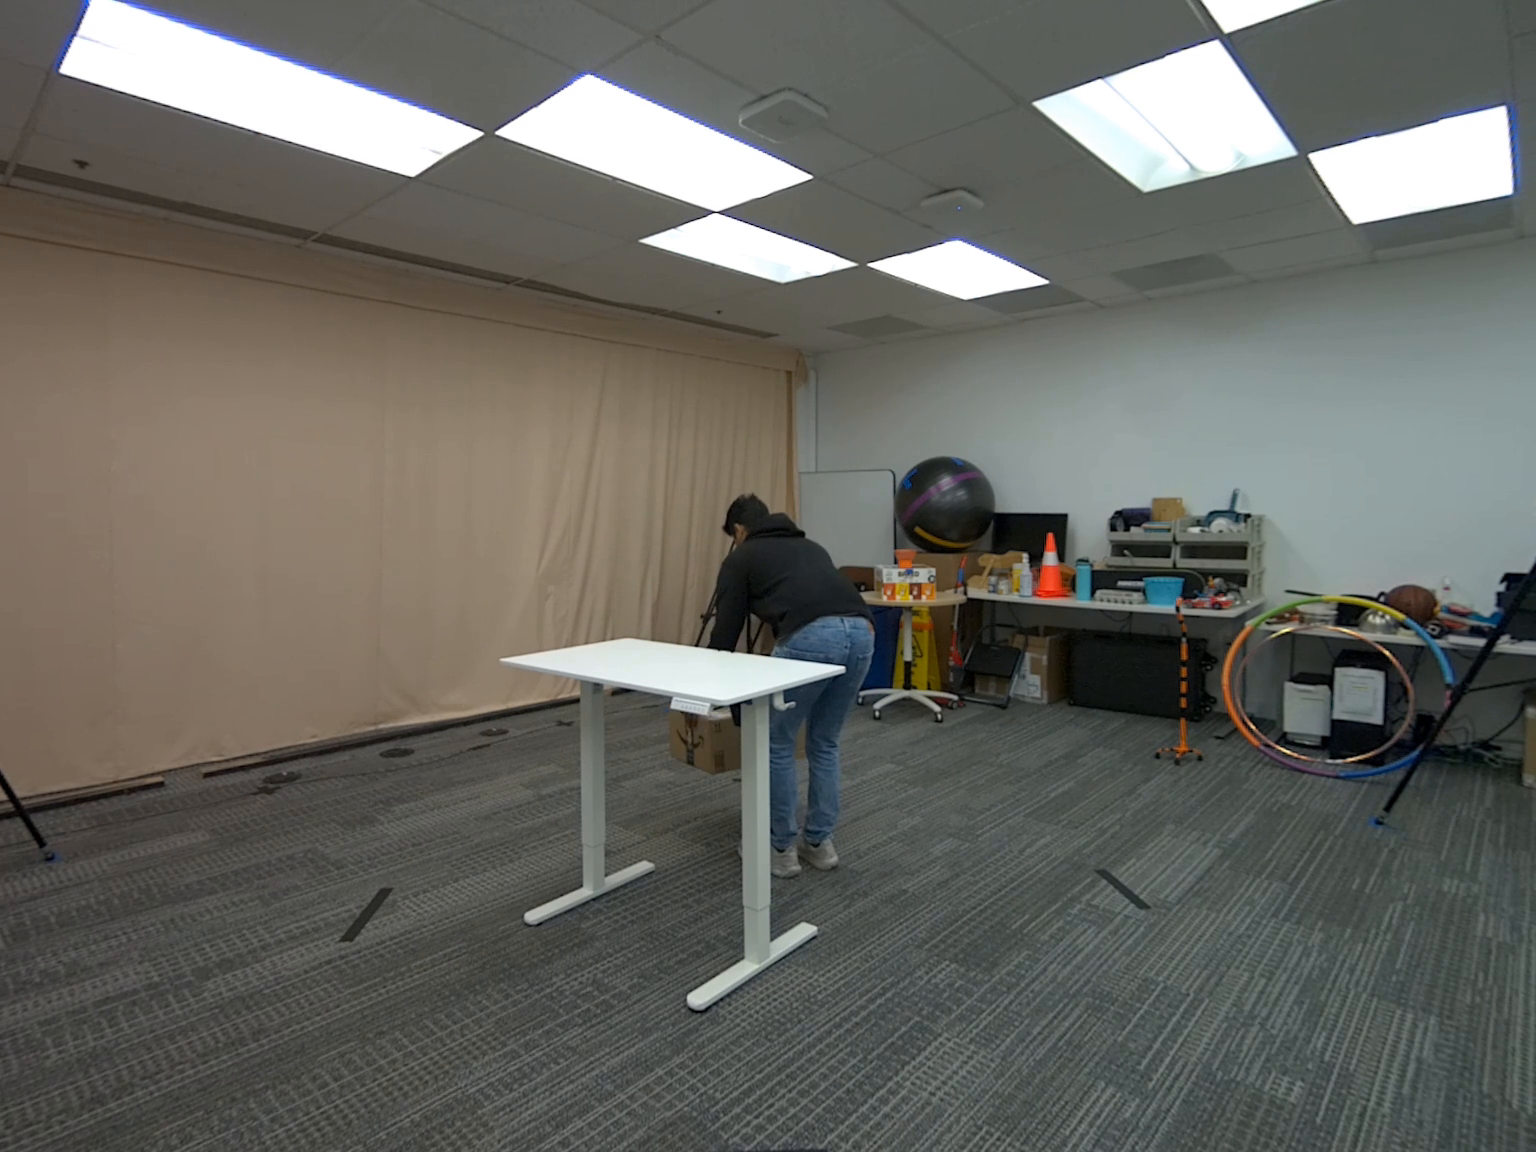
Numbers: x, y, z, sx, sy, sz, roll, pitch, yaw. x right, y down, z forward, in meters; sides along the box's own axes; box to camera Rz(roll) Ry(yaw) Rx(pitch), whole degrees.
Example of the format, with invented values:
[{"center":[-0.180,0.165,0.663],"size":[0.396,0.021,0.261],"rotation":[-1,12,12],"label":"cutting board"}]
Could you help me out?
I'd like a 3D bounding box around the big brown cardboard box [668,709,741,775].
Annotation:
[{"center":[-0.093,0.657,3.630],"size":[0.574,0.233,0.428],"rotation":[-2,0,-29],"label":"big brown cardboard box"}]
